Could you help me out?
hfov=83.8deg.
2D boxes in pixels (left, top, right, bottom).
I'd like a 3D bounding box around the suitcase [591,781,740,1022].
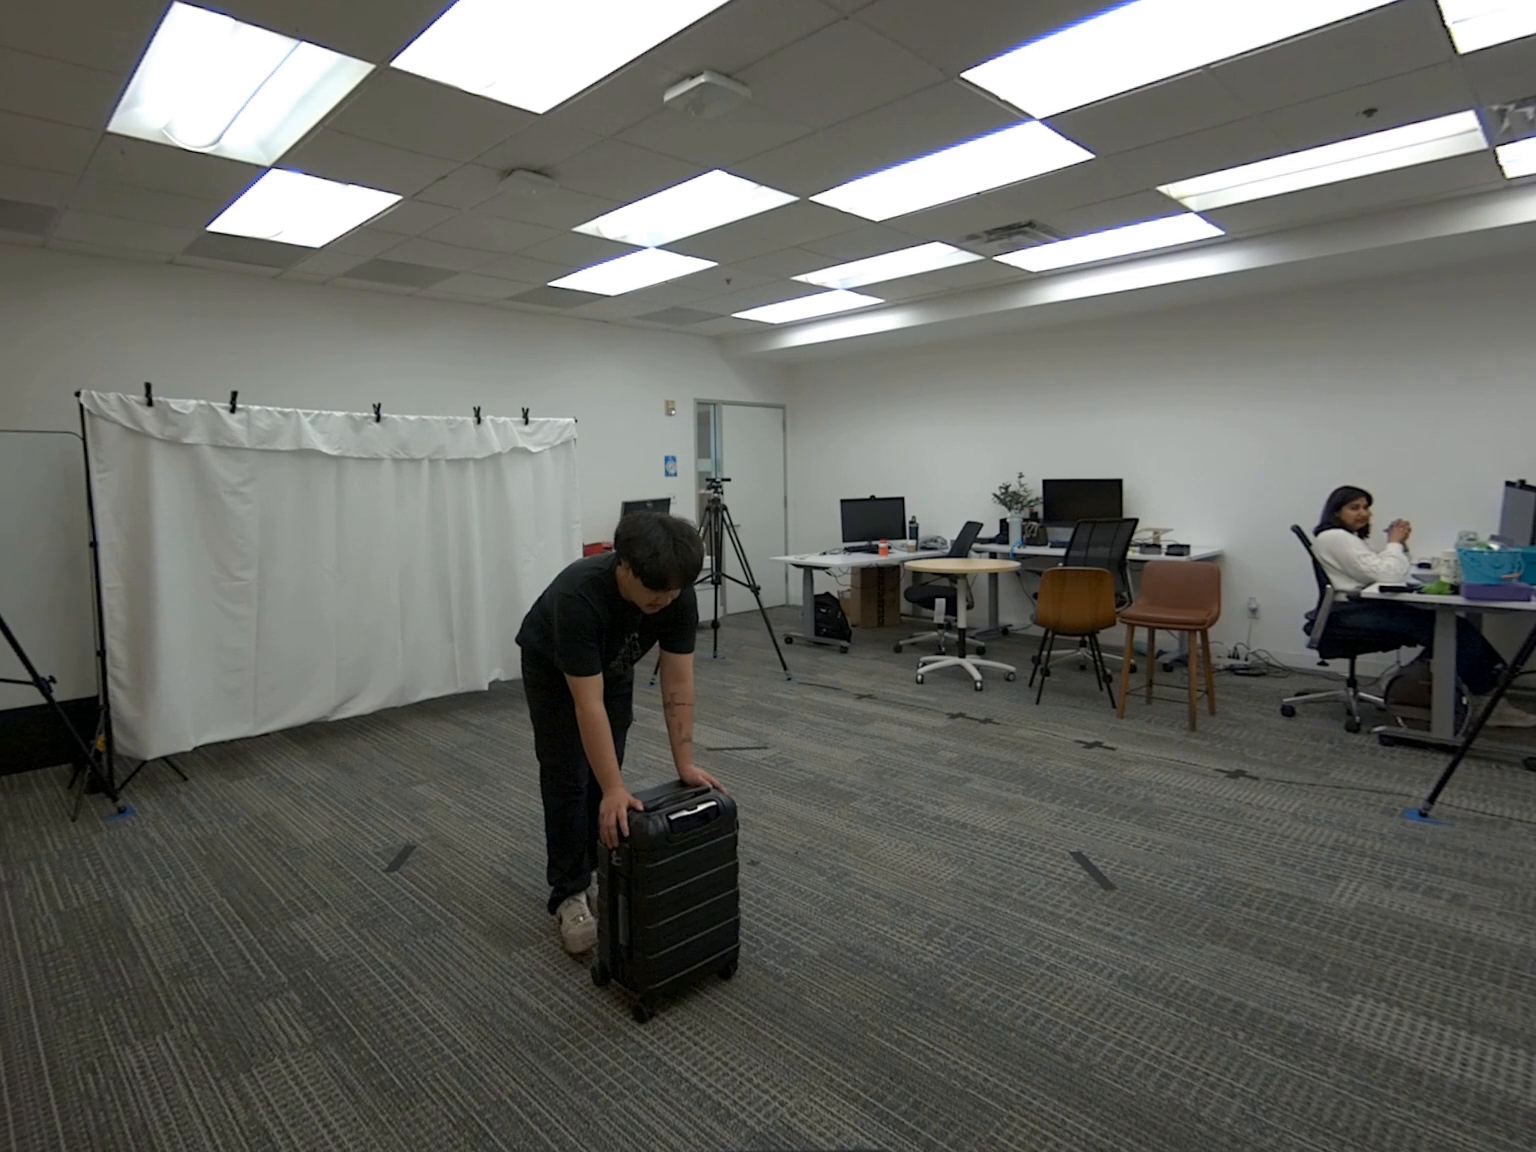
[{"bbox_3d":[-0.269,0.861,2.358,0.365,0.547,0.256,-4,7,-44],"label":"suitcase"}]
